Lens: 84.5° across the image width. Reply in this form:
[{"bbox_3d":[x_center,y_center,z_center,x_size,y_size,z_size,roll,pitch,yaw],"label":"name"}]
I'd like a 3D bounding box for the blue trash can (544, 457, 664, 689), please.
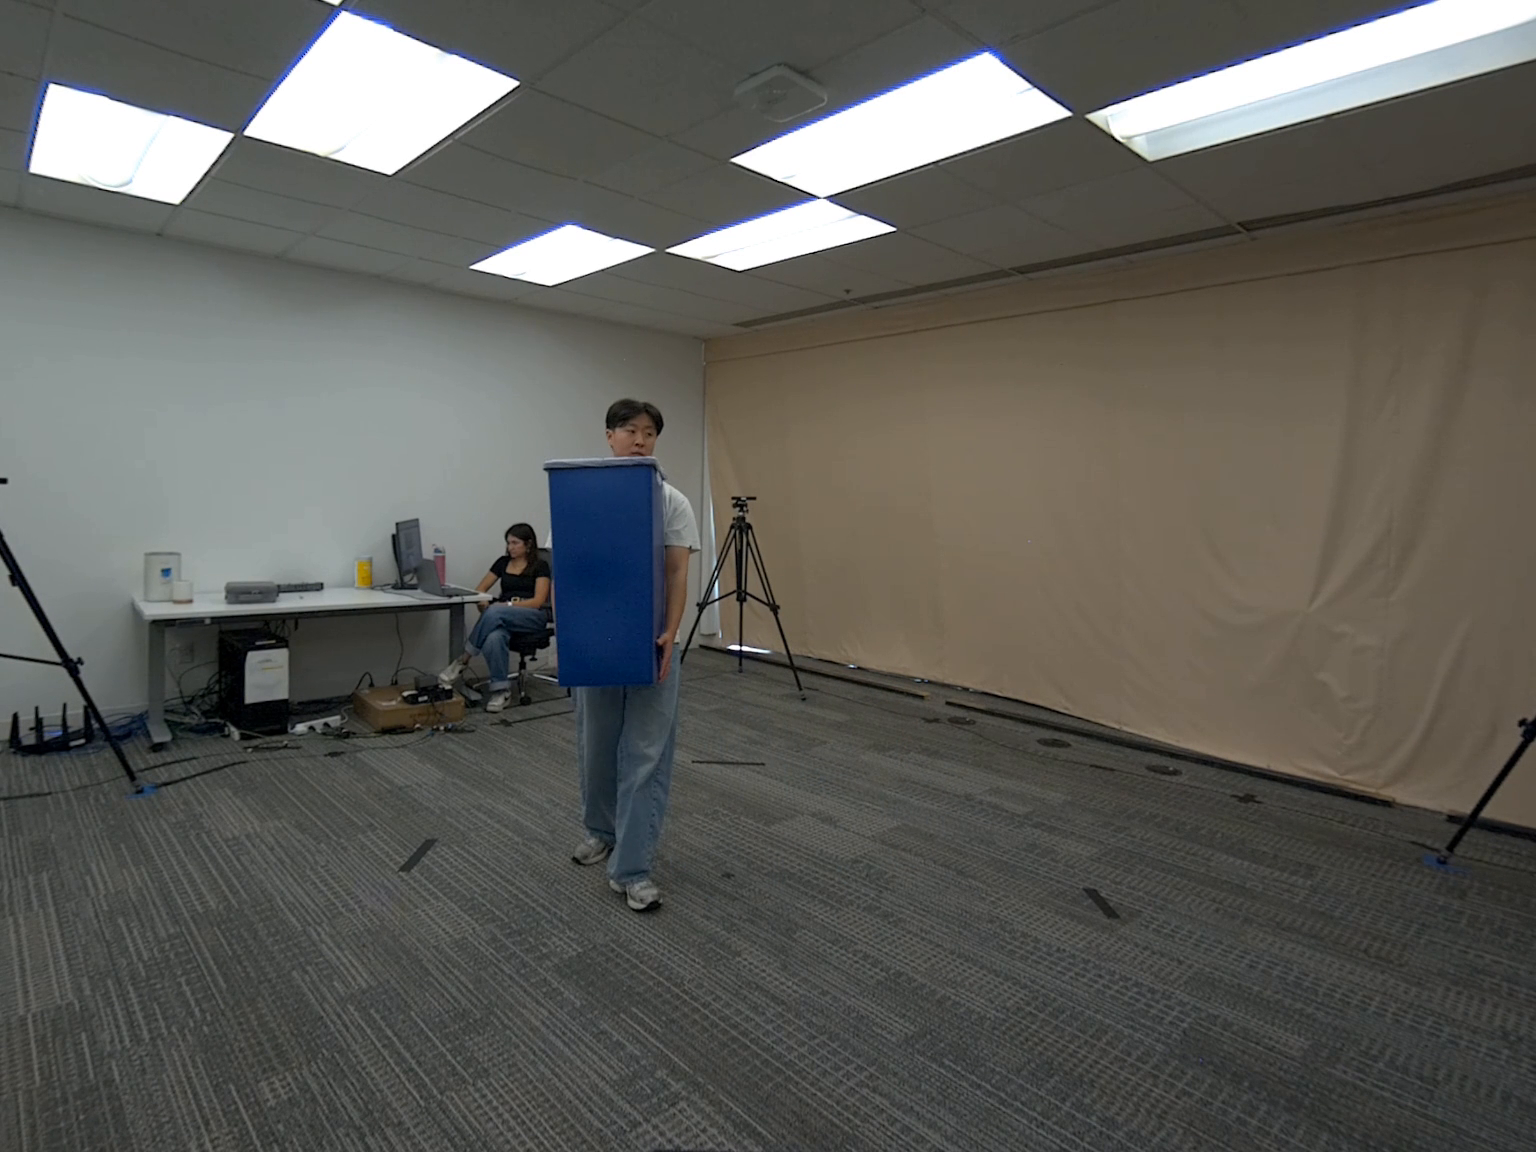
[{"bbox_3d":[-0.540,-0.016,2.794,0.374,0.716,0.377,-1,-4,-1],"label":"blue trash can"}]
